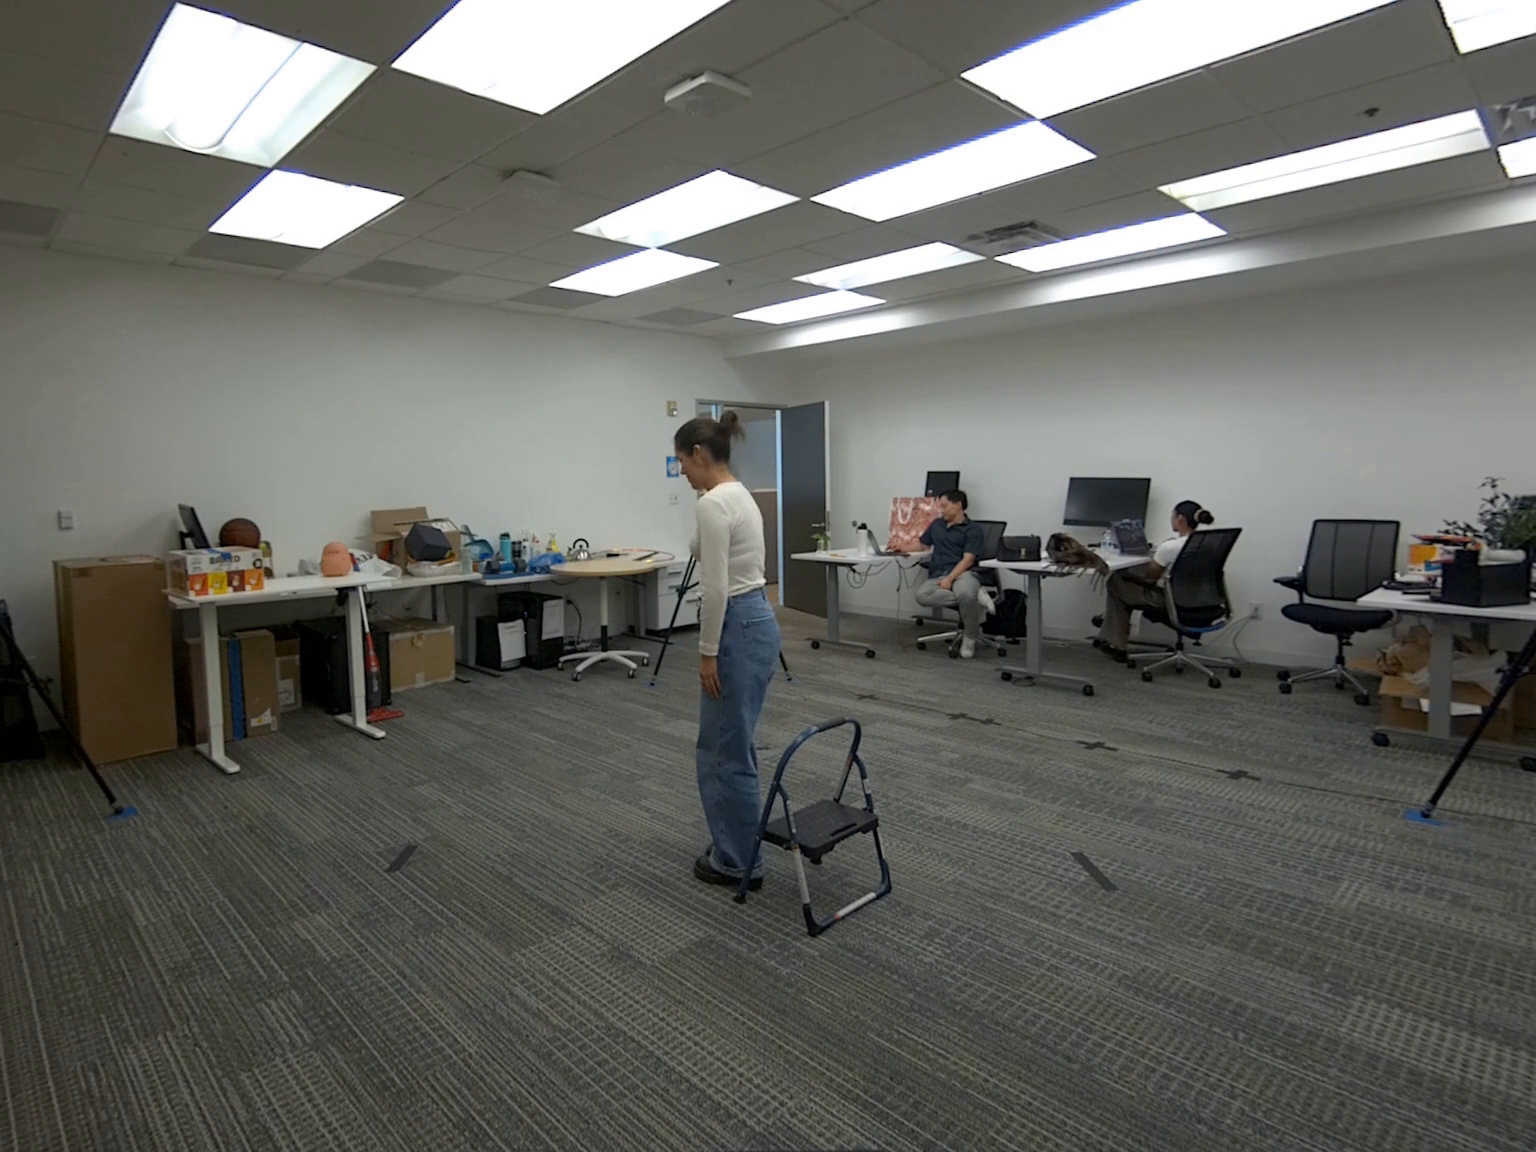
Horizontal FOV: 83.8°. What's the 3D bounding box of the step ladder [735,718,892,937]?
[{"bbox_3d":[0.152,0.765,2.838,0.360,0.604,0.419,3,6,44],"label":"step ladder"}]
